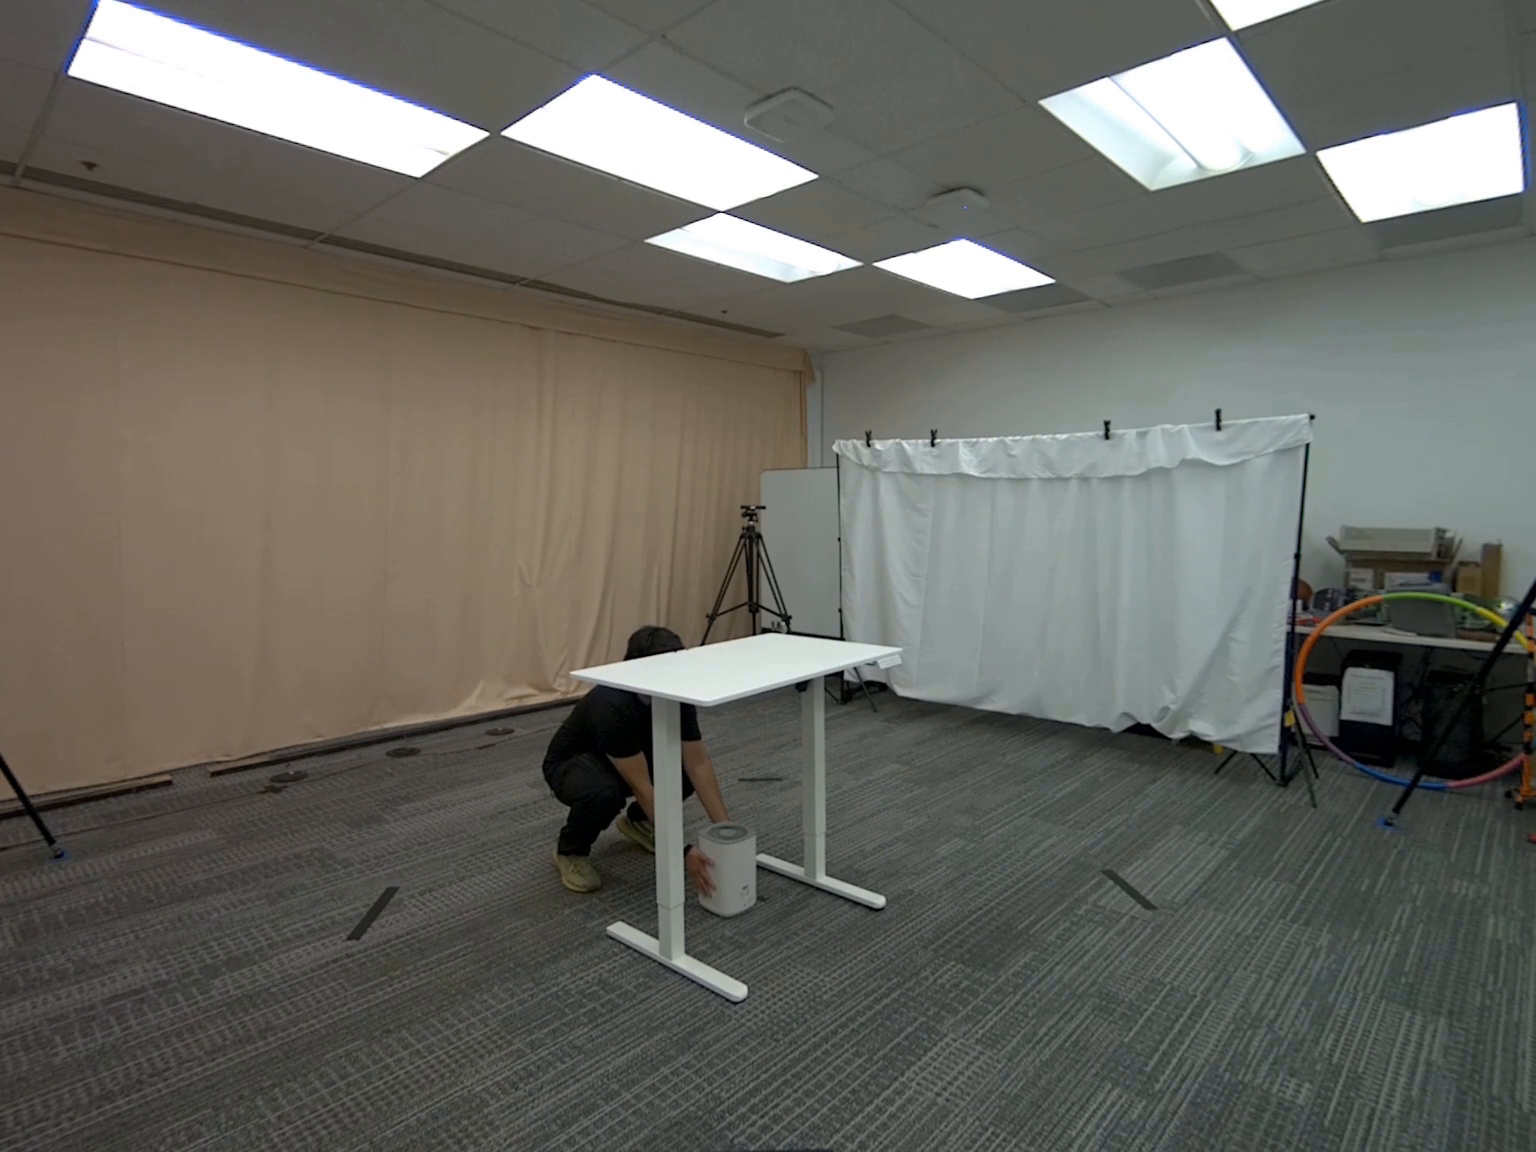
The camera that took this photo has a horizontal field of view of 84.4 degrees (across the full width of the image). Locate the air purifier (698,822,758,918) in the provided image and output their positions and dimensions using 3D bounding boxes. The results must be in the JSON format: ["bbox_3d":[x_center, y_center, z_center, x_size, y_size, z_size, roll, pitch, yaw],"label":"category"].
[{"bbox_3d":[-0.137,1.017,2.916,0.177,0.265,0.166,4,5,44],"label":"air purifier"}]
